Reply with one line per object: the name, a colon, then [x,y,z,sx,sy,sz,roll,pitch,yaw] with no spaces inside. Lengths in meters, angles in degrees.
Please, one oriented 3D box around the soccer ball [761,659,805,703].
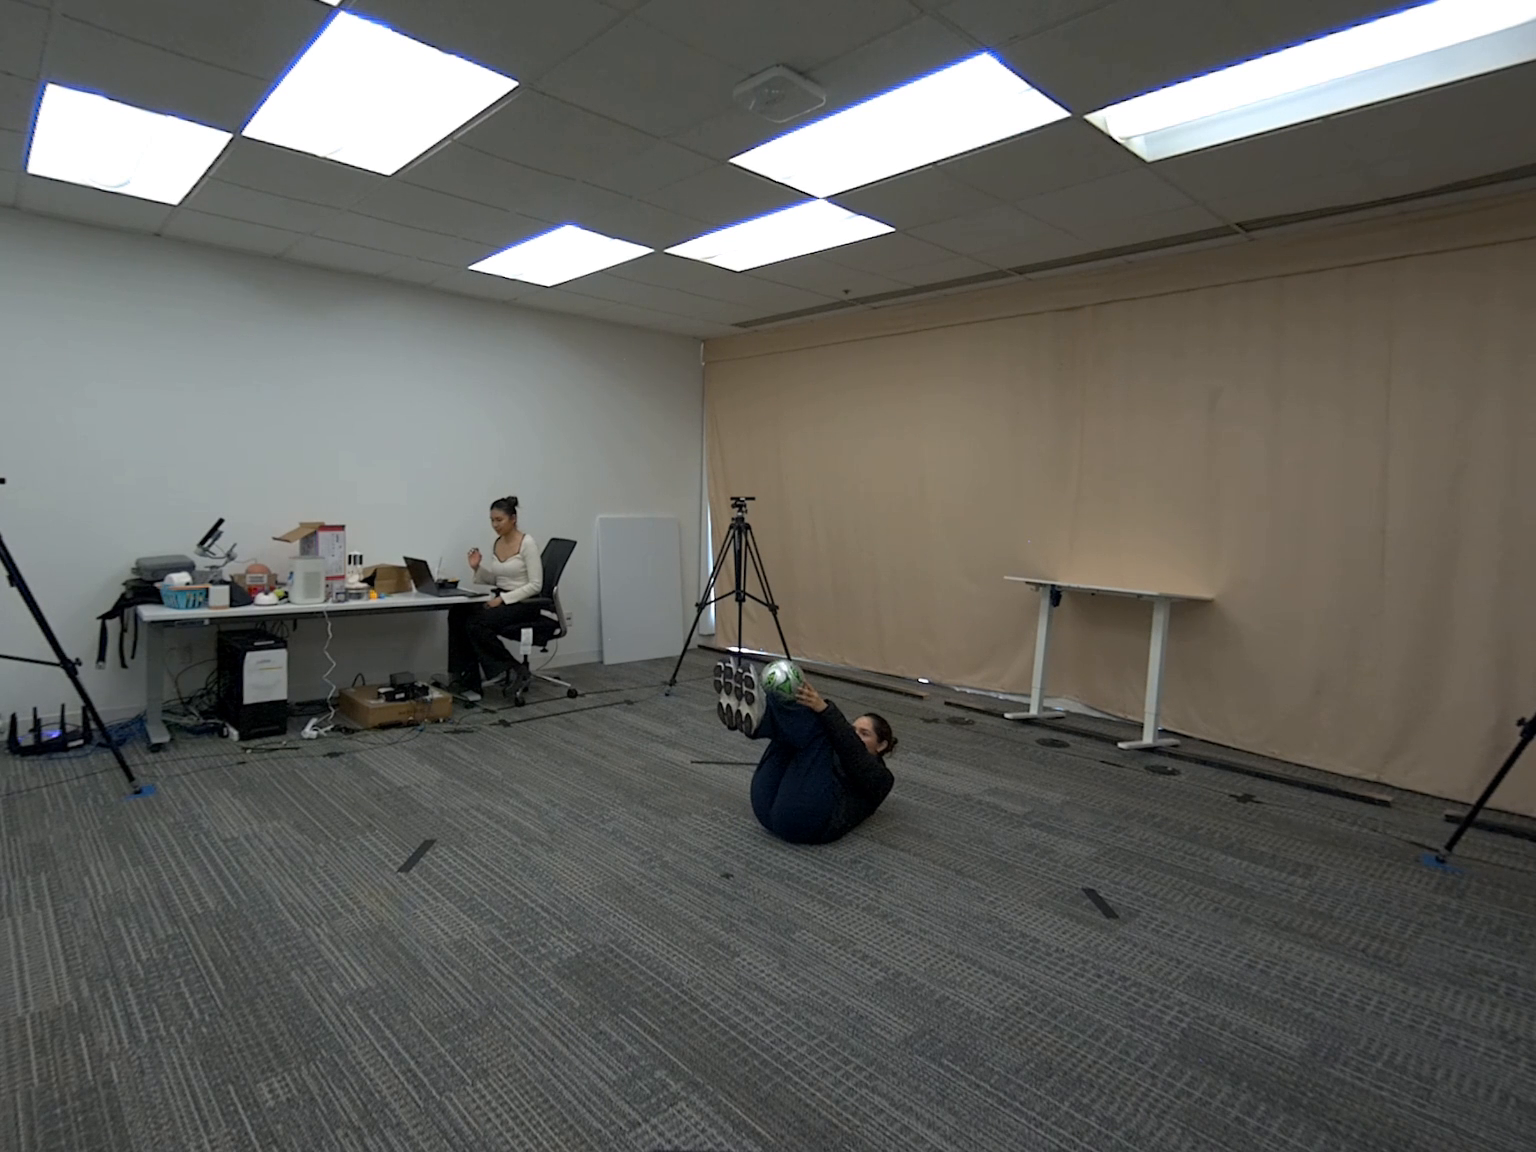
soccer ball: [0.047,0.431,3.402,0.187,0.186,0.188,0,7,-1]
